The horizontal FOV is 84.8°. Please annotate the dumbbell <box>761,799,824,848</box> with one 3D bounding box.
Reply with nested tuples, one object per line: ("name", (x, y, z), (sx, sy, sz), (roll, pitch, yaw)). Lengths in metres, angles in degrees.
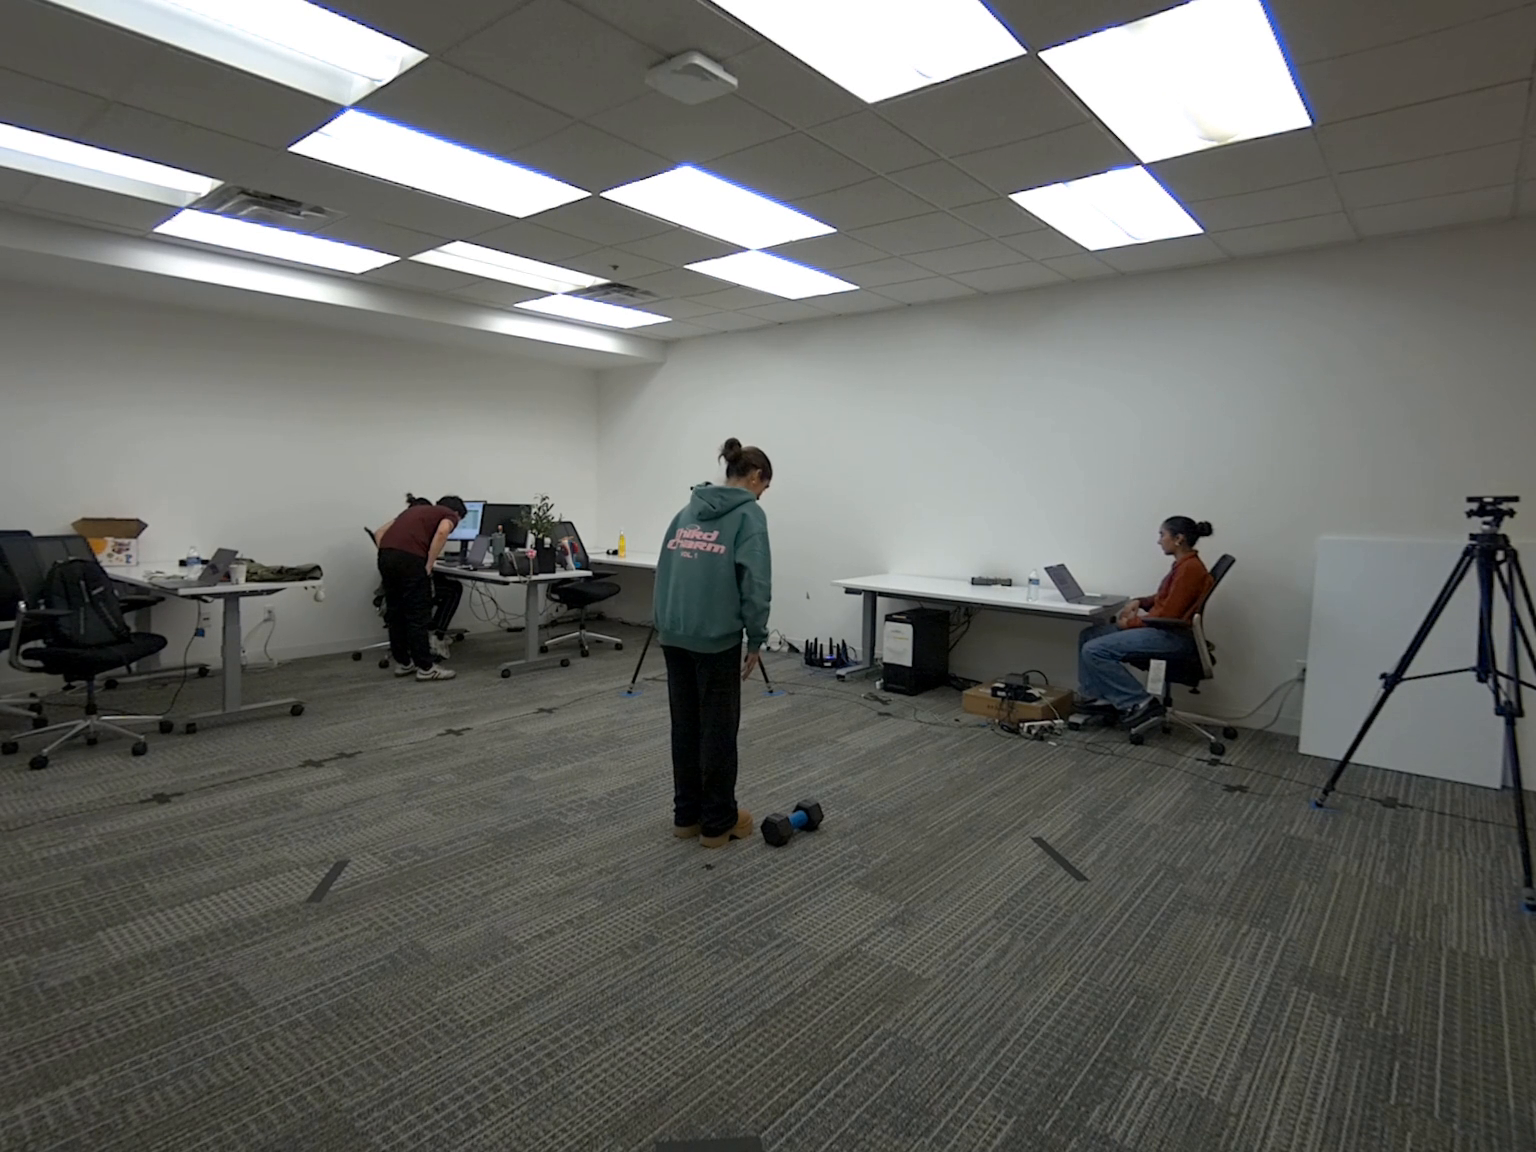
("dumbbell", (0.092, 0.990, 3.417), (0.113, 0.122, 0.285), (41, 28, 30))
